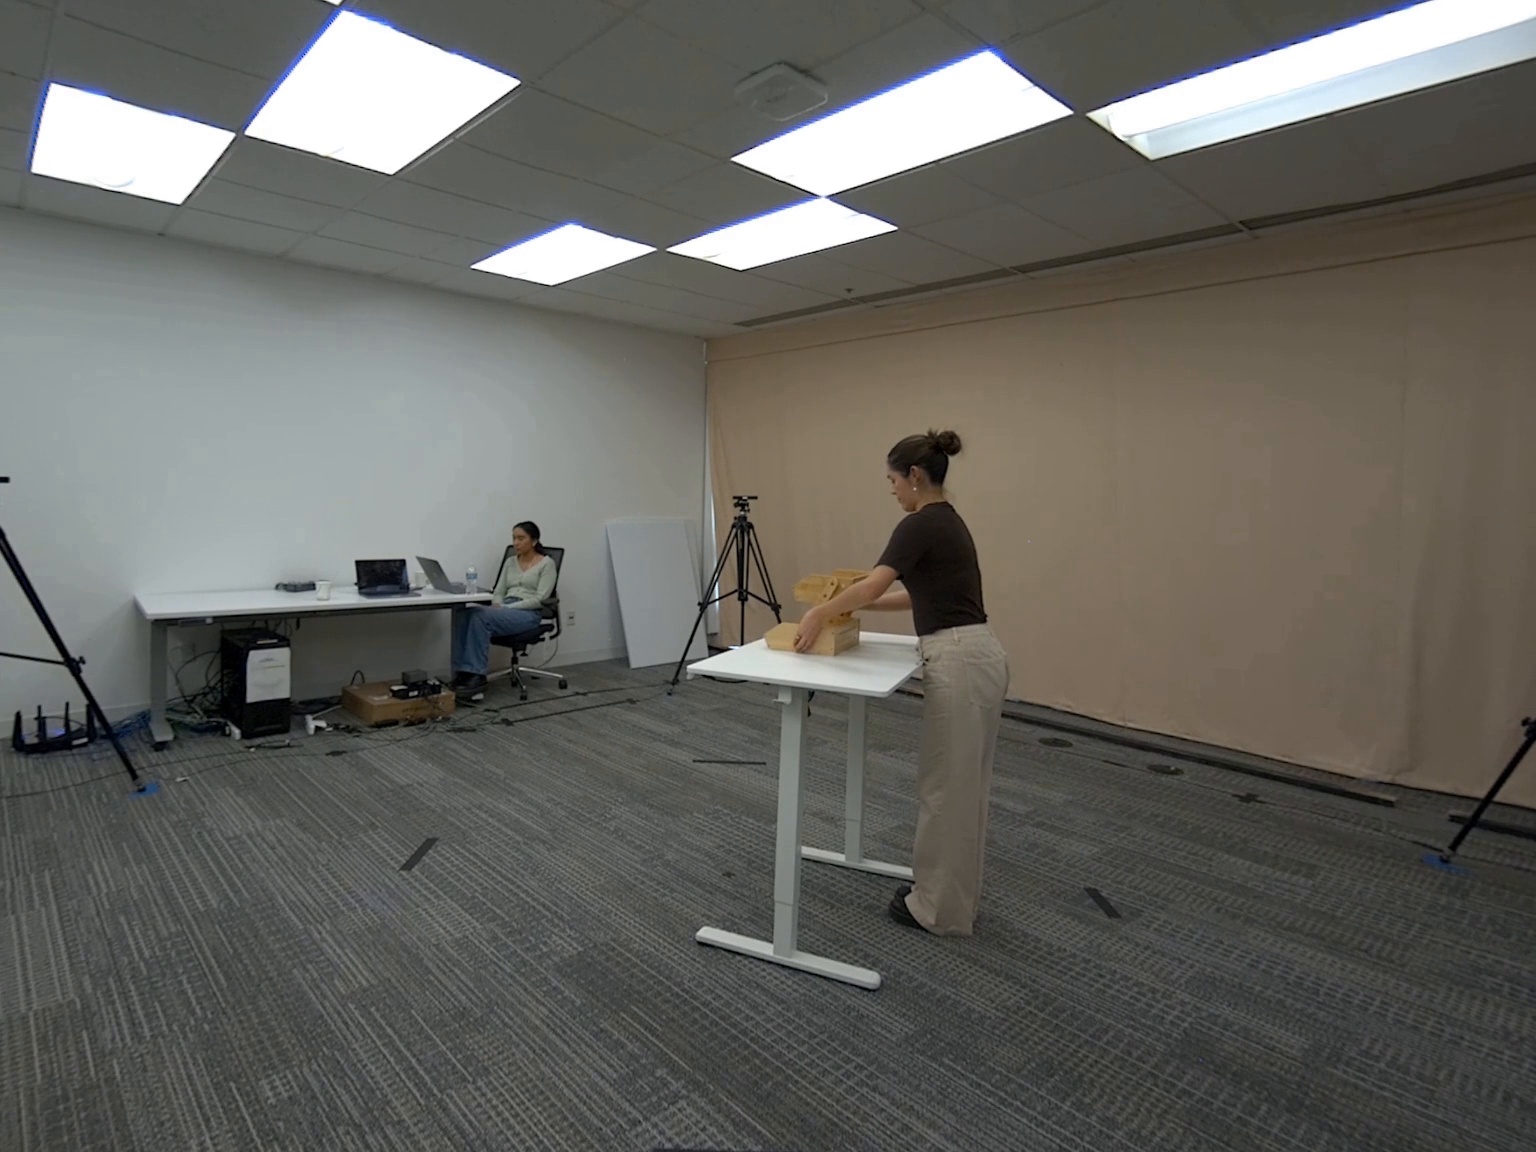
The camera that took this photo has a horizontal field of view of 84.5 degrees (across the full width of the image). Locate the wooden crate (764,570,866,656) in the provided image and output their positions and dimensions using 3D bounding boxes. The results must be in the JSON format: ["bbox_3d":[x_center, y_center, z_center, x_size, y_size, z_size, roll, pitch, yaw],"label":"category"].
[{"bbox_3d":[0.185,0.115,2.902,0.308,0.272,0.319,5,5,23],"label":"wooden crate"}]
